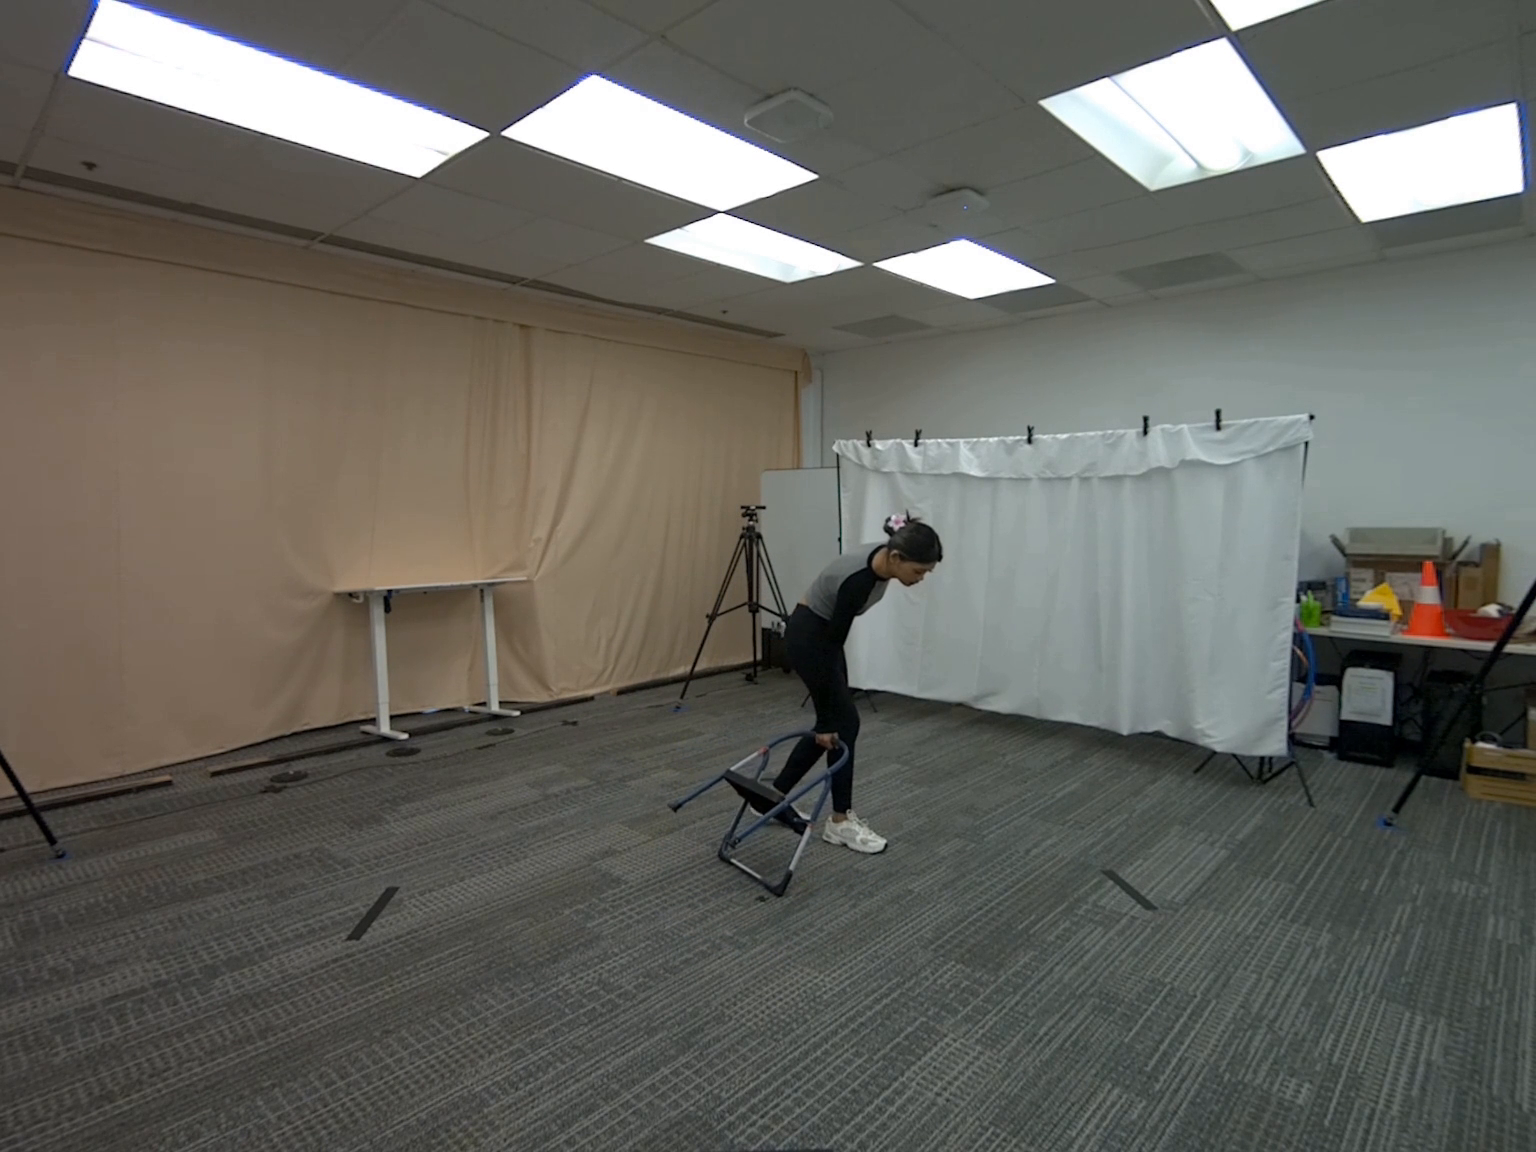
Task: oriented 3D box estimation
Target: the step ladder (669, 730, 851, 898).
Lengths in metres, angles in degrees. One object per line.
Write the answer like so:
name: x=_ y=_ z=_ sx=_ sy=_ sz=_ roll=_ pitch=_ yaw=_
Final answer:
step ladder: x=0.020 y=0.802 z=3.205 sx=0.603 sy=0.340 sz=0.444 roll=-49 pitch=29 yaw=-22
